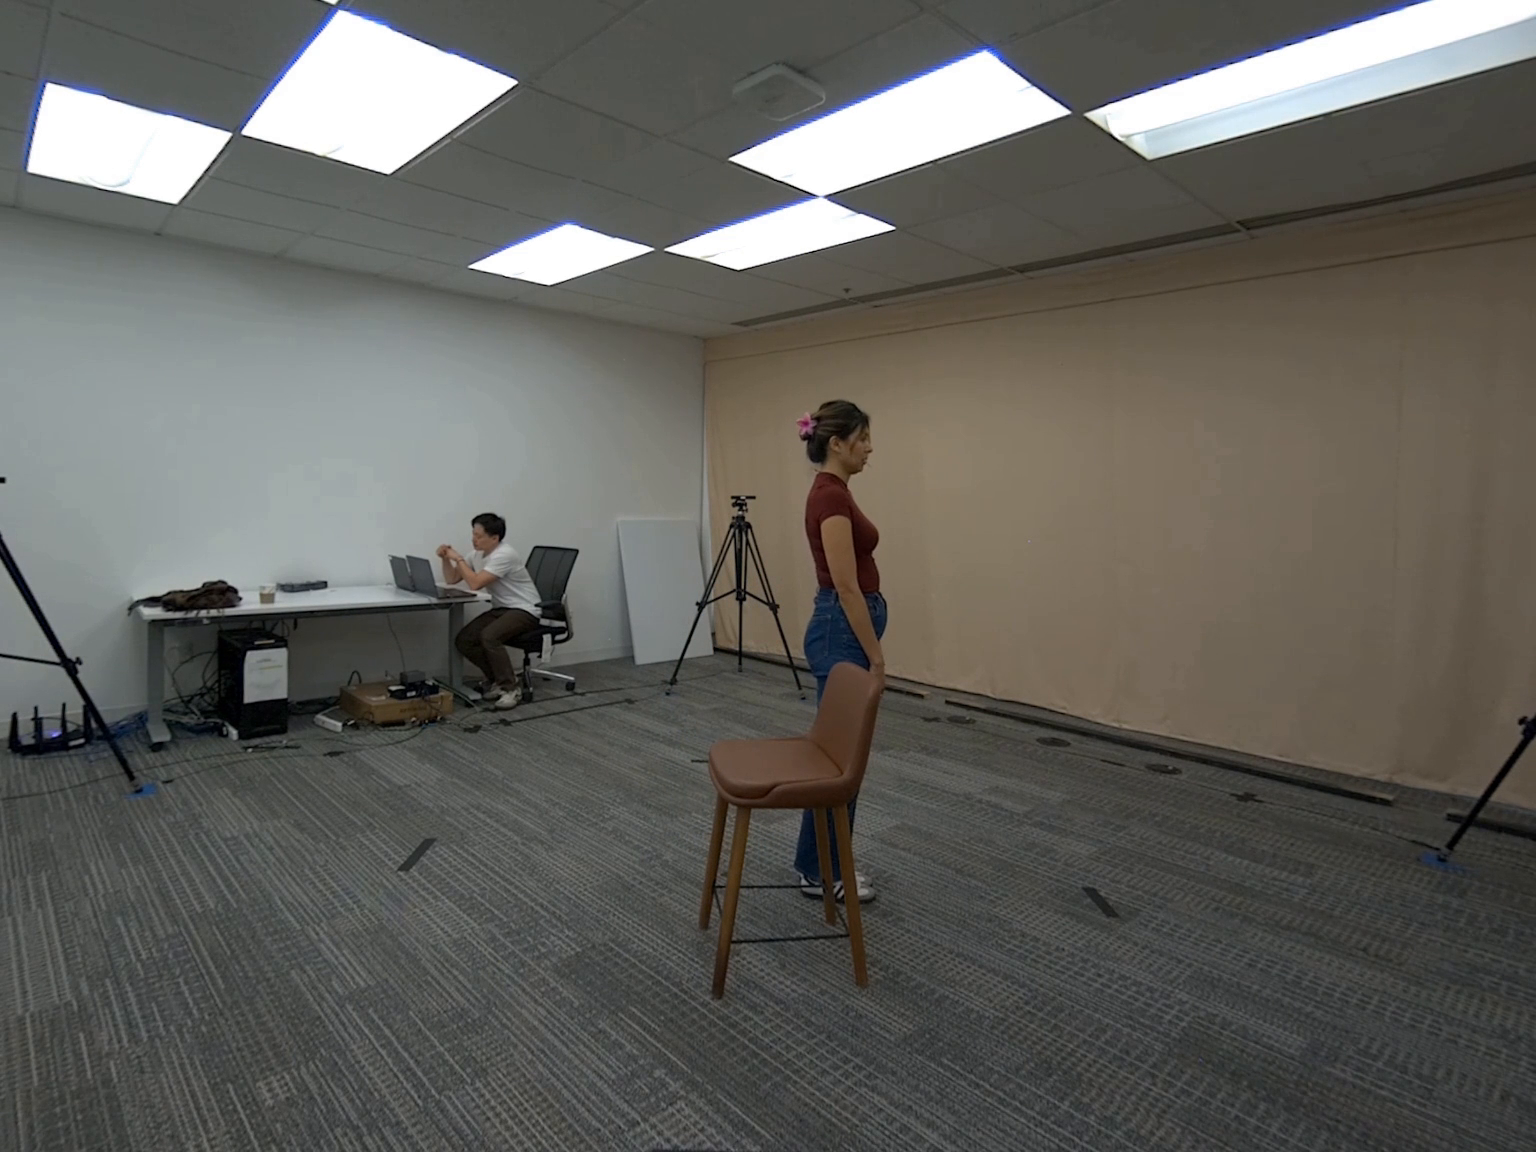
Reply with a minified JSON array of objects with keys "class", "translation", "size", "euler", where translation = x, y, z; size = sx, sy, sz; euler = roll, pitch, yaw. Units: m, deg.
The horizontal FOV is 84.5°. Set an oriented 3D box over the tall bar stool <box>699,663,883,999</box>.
[{"class":"tall bar stool","translation":[0.050,0.726,2.533],"size":[0.464,0.887,0.461],"euler":[3,4,-10]}]
